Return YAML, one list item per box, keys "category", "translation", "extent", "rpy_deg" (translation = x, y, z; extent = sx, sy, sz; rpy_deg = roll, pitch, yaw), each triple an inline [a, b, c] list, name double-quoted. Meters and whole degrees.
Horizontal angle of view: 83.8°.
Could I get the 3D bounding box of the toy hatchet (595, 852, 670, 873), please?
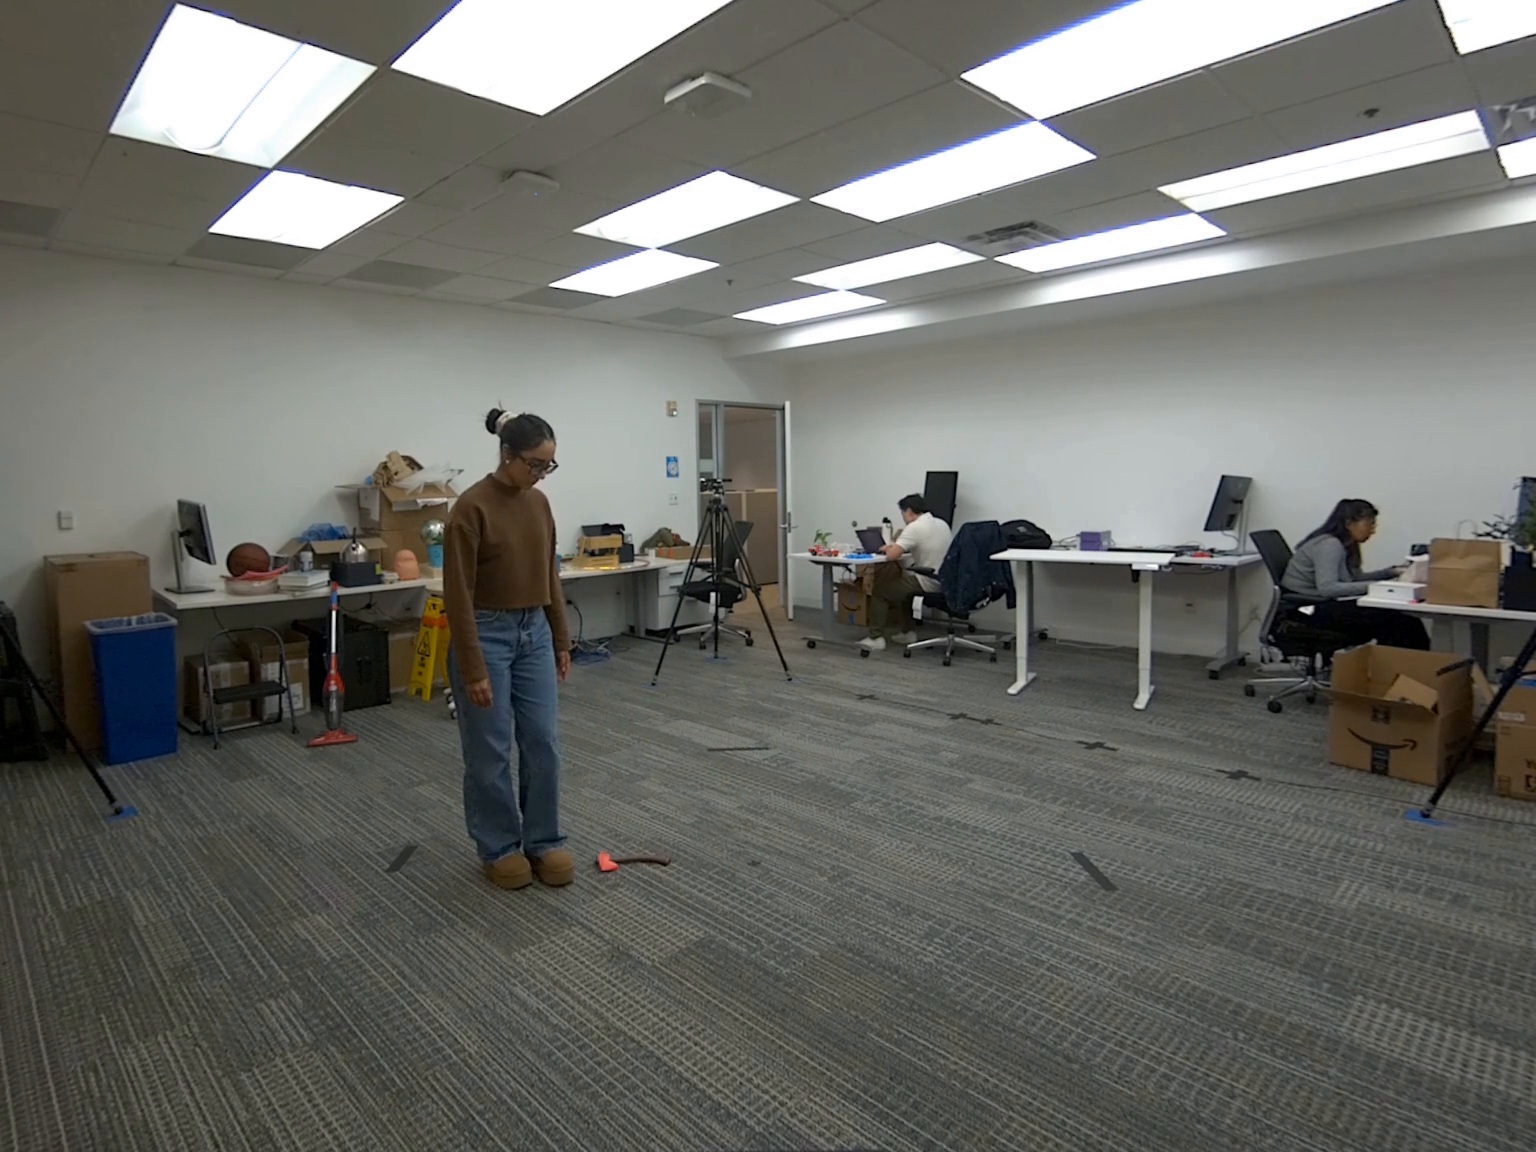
- category: "toy hatchet"
  translation: [-0.494, 1.039, 3.090]
  extent: [0.273, 0.029, 0.130]
  rpy_deg: [2, 7, 10]
